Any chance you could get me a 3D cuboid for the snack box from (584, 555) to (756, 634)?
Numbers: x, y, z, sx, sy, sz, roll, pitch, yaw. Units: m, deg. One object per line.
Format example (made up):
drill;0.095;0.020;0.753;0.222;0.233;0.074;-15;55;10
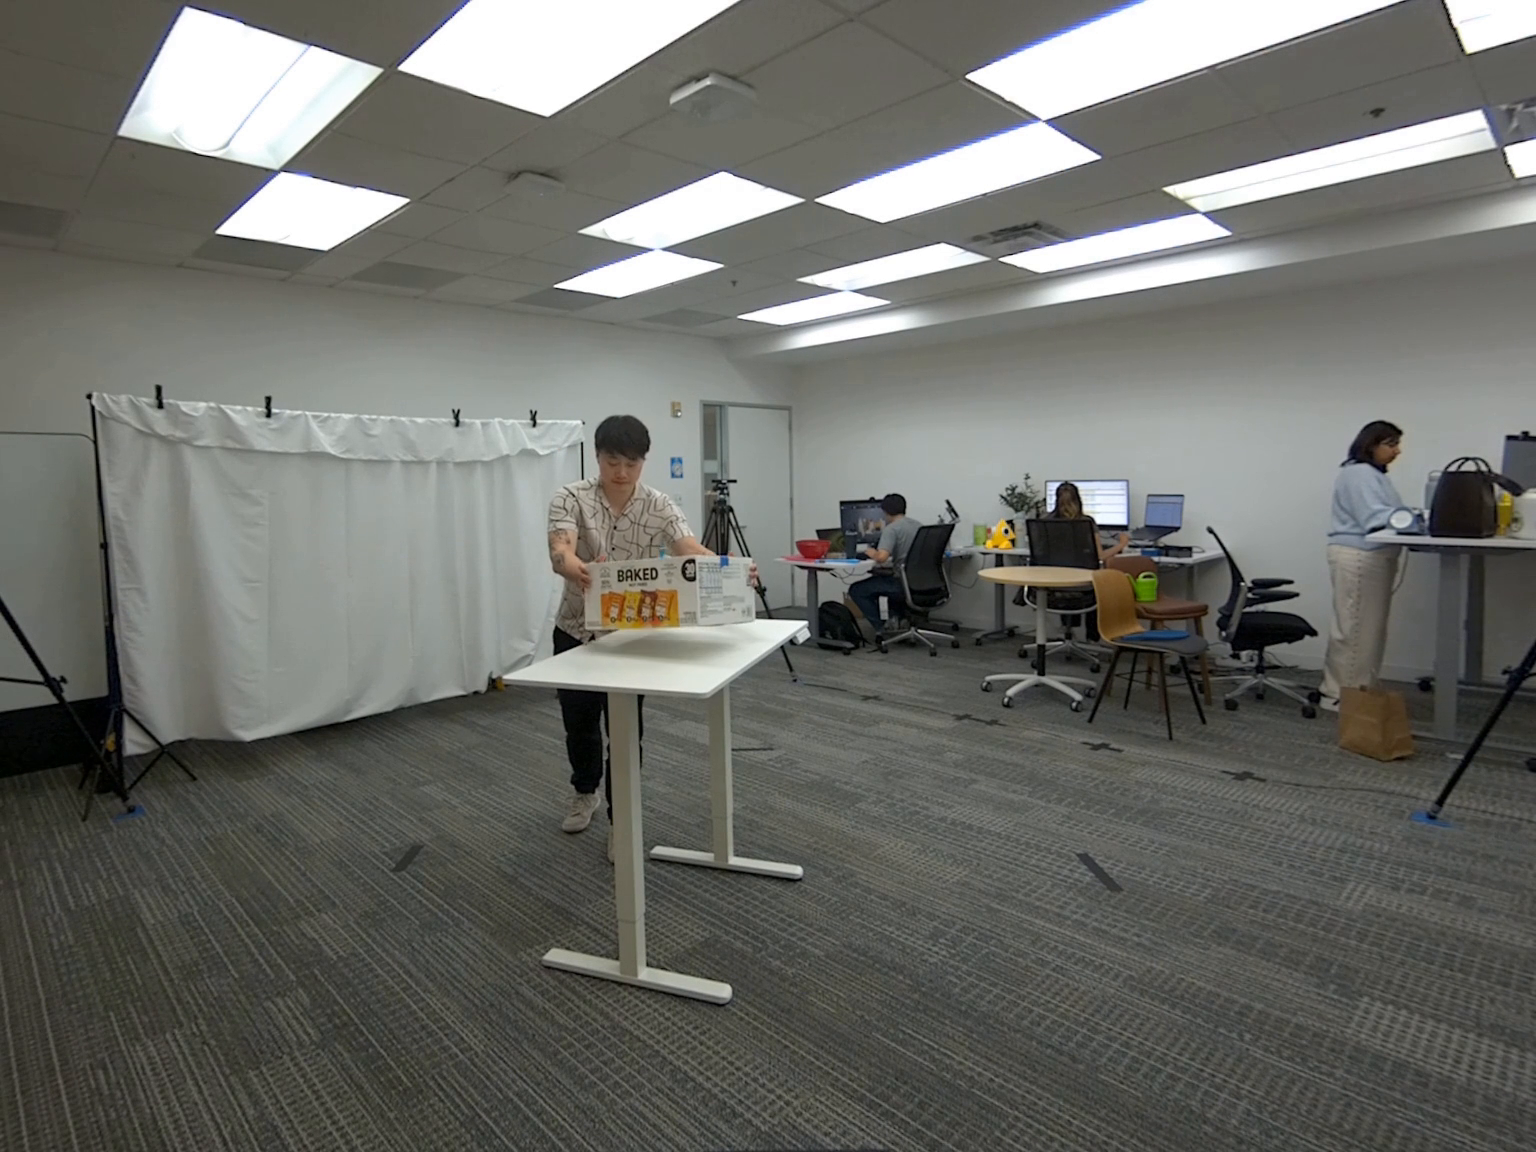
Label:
snack box;-0.298;0.055;2.639;0.414;0.206;0.332;-4;-2;28
